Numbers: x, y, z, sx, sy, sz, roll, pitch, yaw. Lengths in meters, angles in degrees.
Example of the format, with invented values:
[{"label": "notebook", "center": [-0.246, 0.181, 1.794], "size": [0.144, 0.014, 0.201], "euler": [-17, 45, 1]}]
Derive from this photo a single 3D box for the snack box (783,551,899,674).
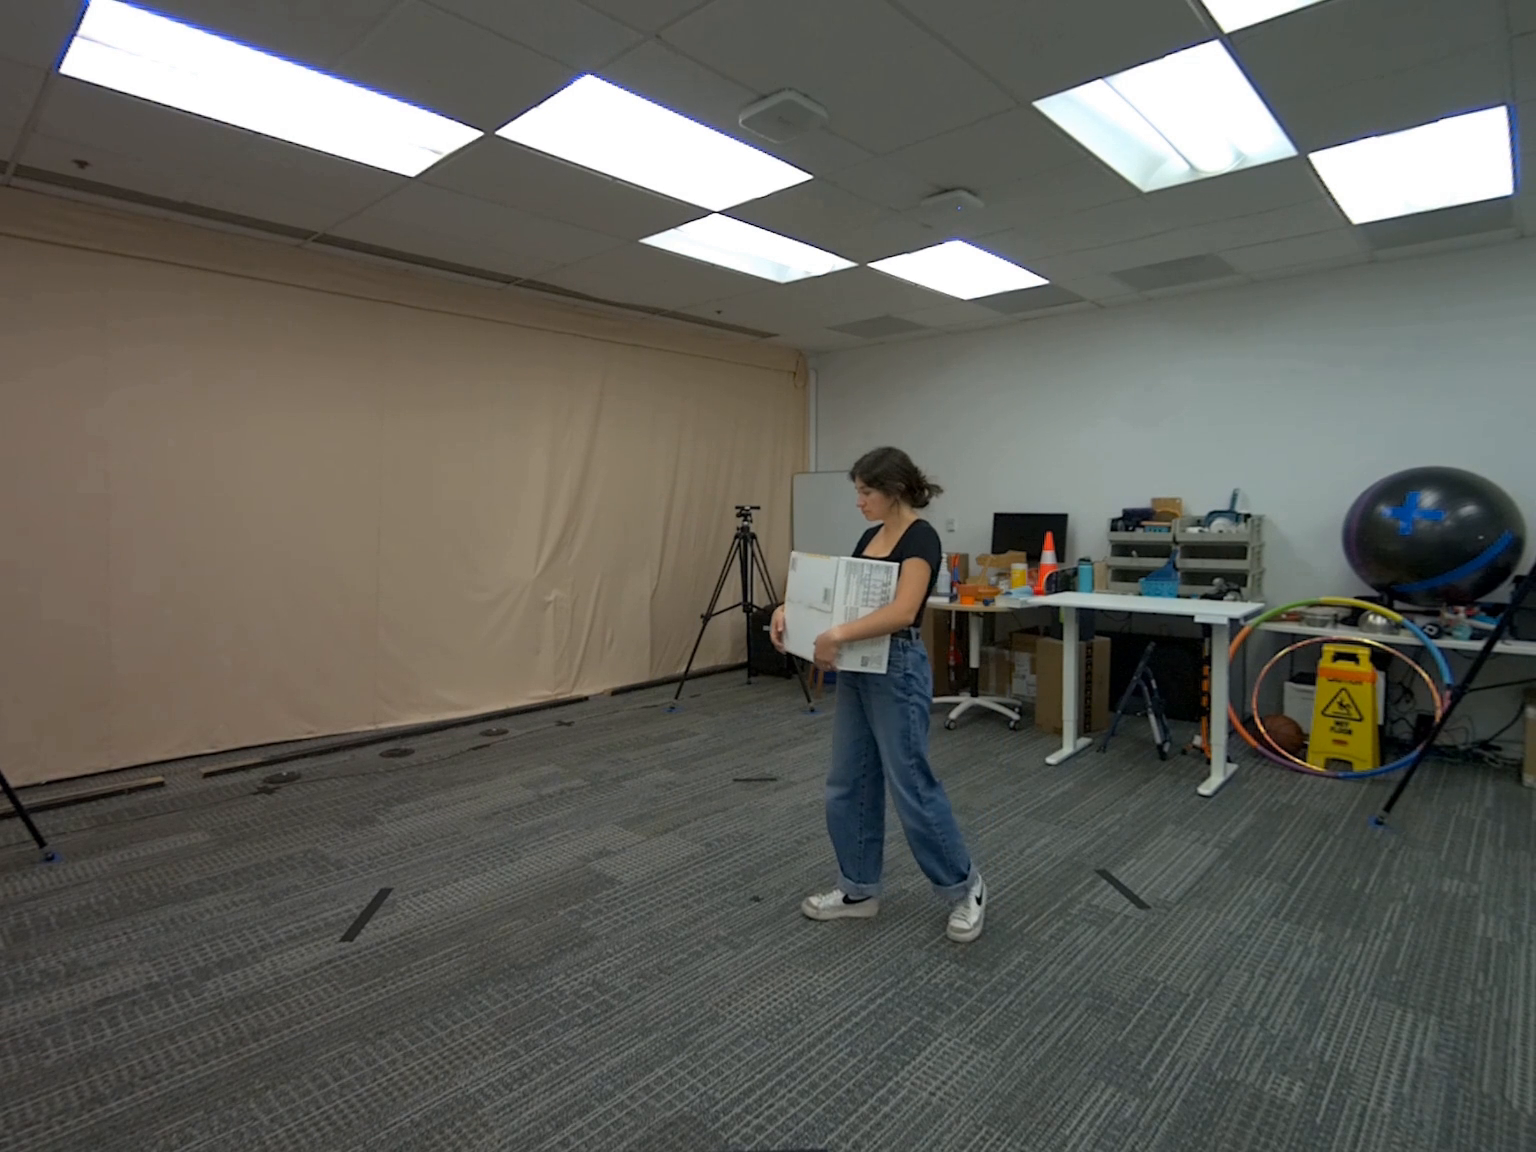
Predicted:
[{"label": "snack box", "center": [0.225, 0.111, 2.735], "size": [0.202, 0.340, 0.413], "euler": [6, 0, -18]}]
